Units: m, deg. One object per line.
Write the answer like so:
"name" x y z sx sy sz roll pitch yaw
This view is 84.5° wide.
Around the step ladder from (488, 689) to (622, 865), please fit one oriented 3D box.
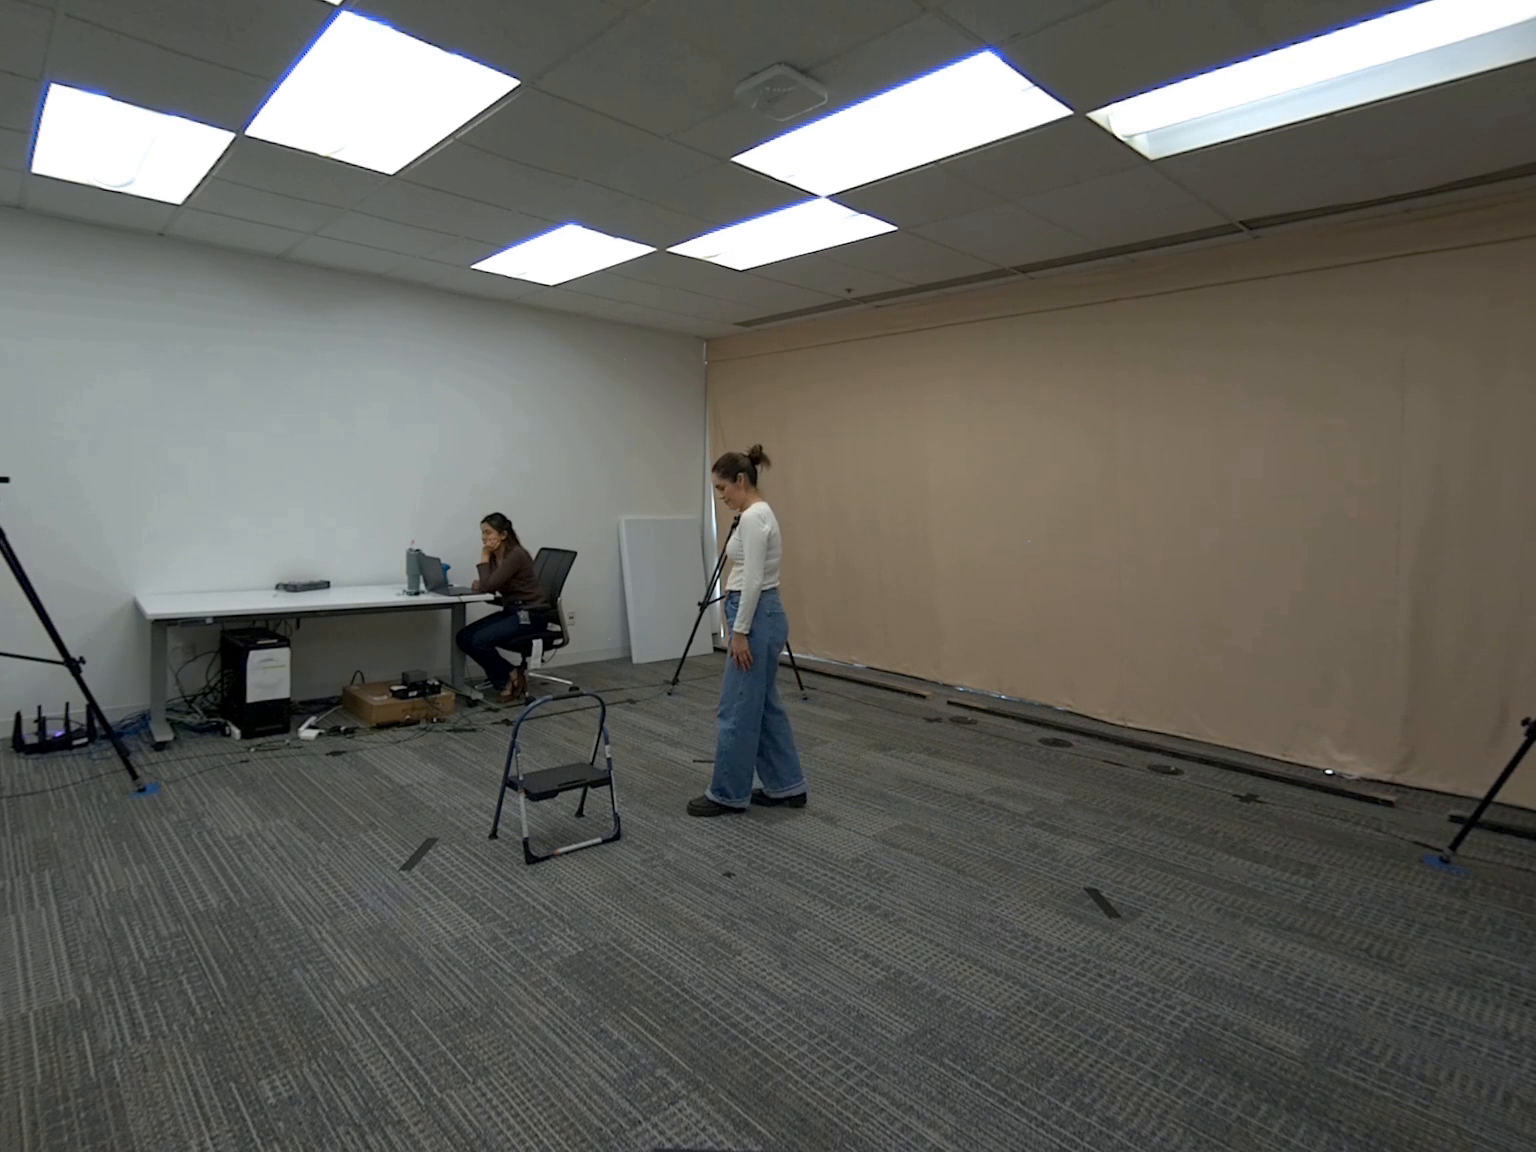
"step ladder" -0.859 0.759 3.384 0.421 0.604 0.358 -3 5 -42
